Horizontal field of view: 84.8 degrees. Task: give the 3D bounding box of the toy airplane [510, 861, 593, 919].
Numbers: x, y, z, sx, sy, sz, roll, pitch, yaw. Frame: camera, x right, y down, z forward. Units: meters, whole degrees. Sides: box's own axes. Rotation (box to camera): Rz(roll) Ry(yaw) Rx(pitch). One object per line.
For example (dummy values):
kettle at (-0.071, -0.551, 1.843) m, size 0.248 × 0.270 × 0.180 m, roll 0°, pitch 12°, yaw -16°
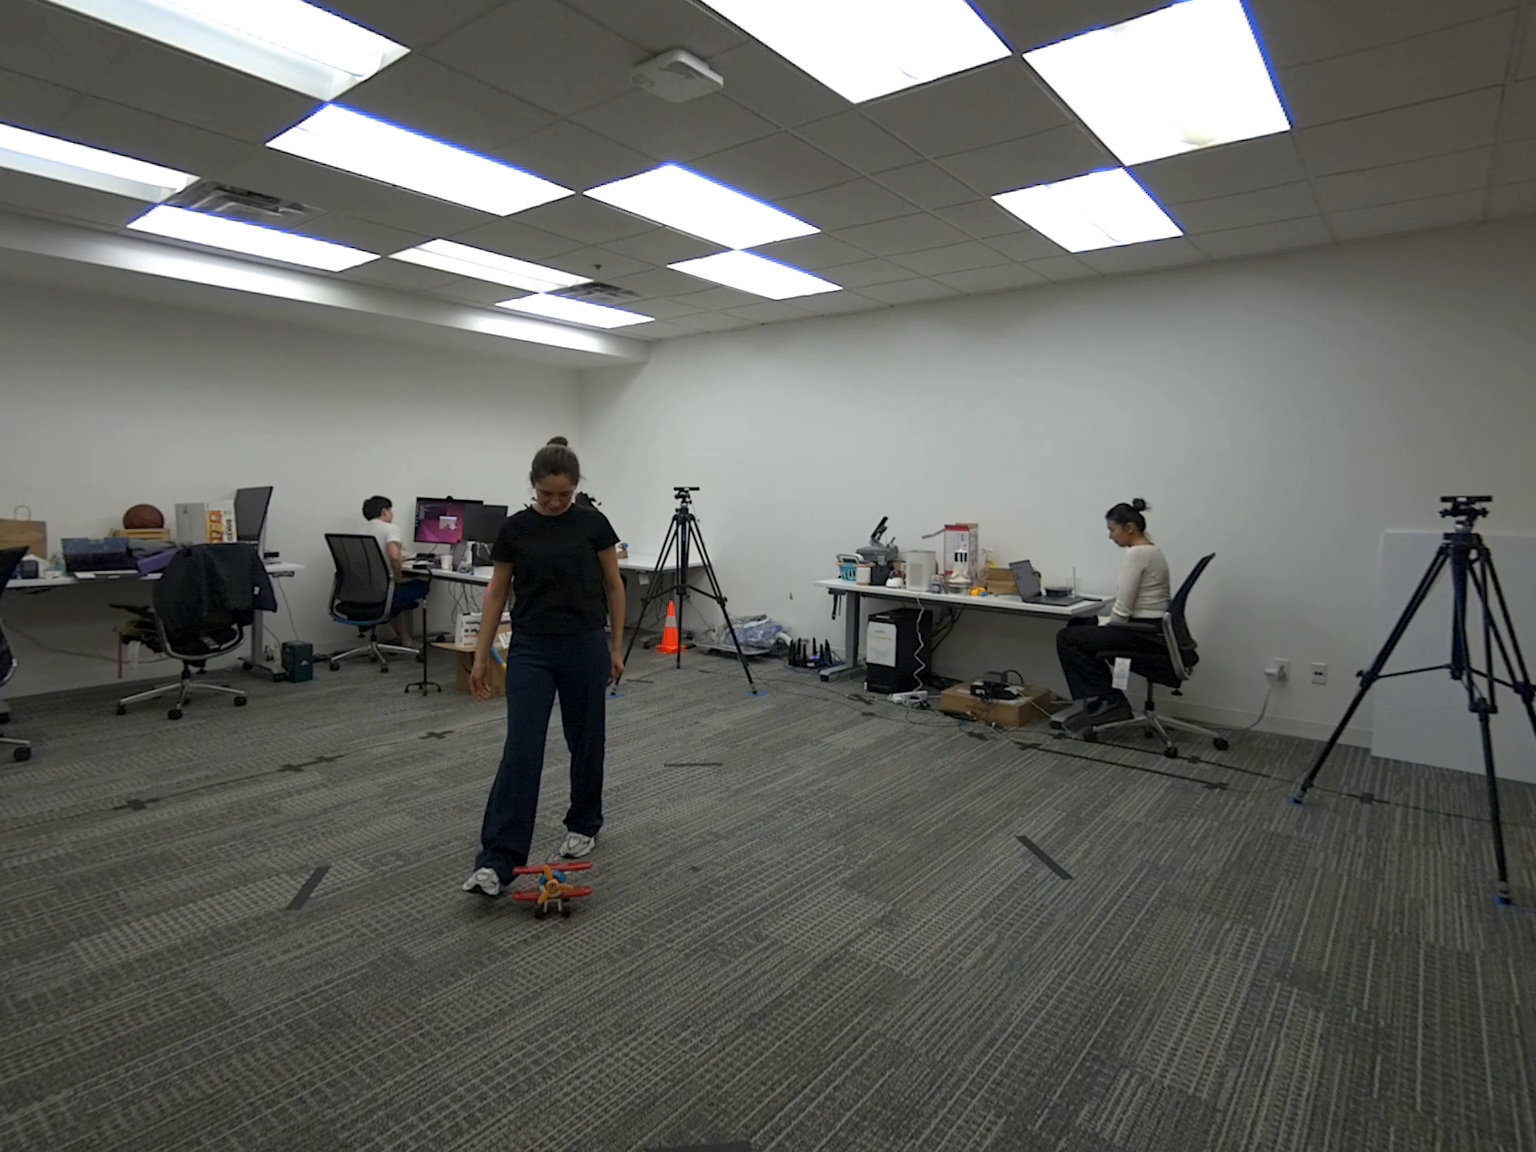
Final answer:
toy airplane at (-0.726, 1.009, 2.841) m, size 0.244 × 0.156 × 0.268 m, roll -4°, pitch 6°, yaw -39°
